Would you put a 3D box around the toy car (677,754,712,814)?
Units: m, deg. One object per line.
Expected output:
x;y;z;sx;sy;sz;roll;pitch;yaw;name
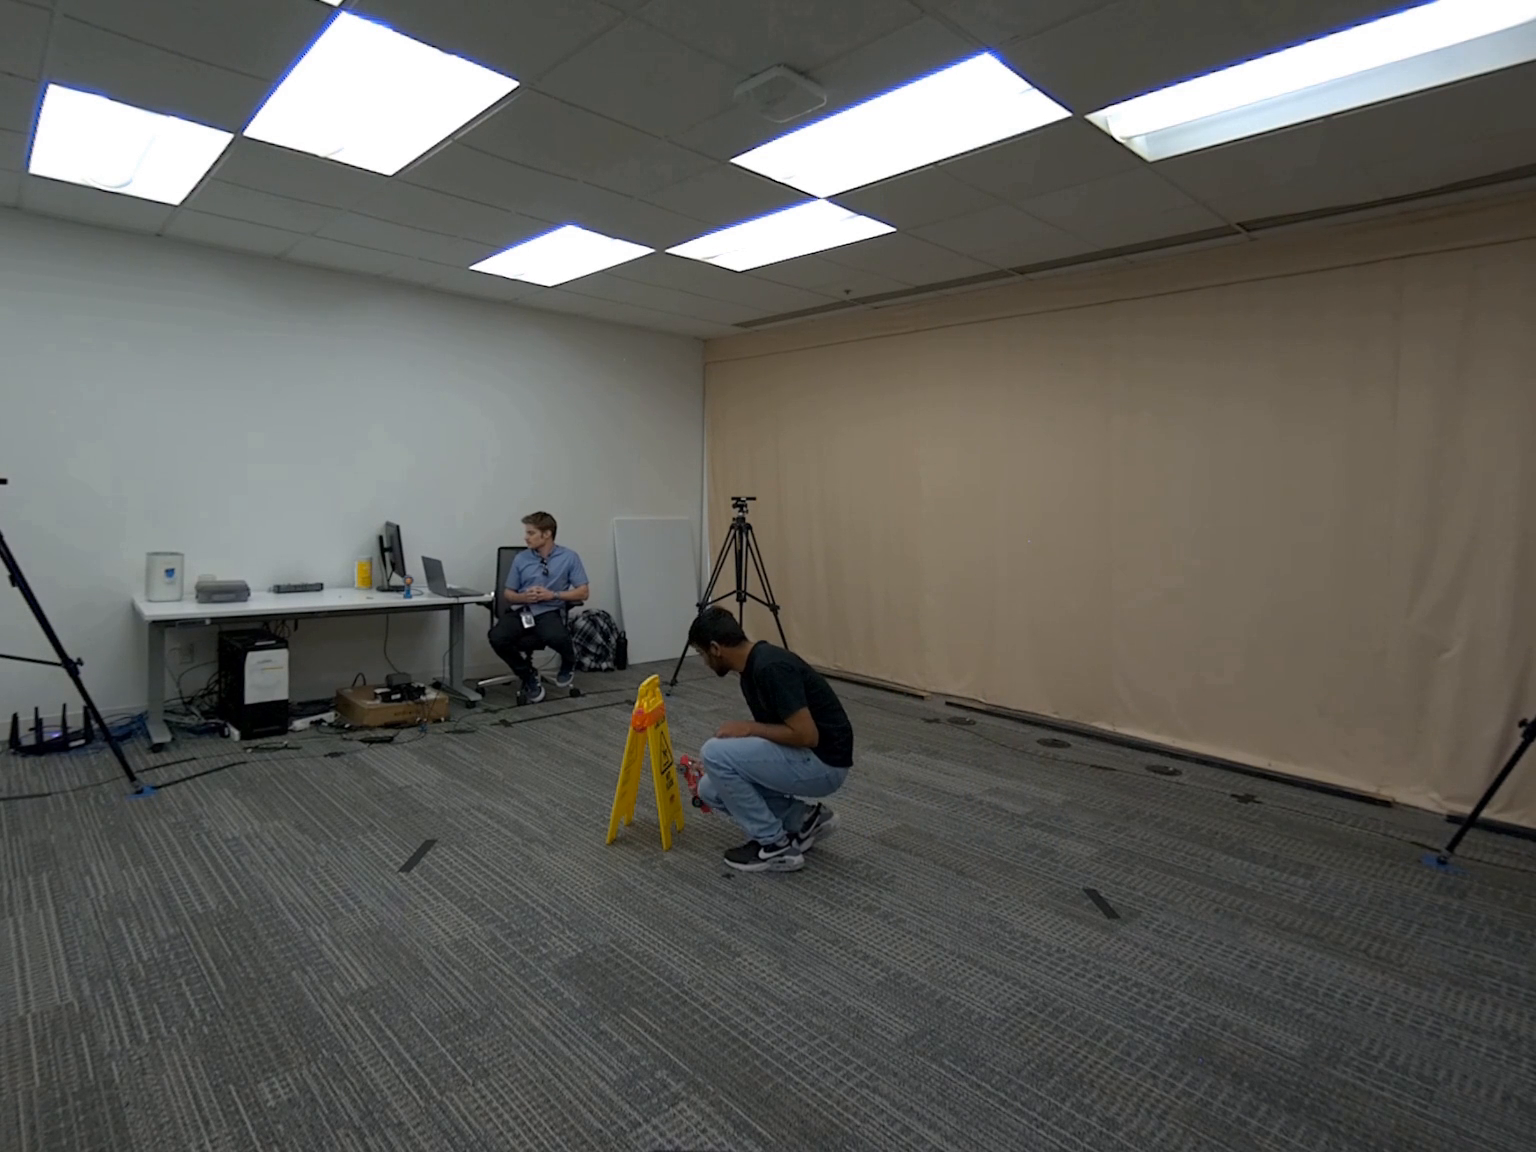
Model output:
-0.305;0.877;3.428;0.083;0.253;0.130;-35;4;9;toy car
